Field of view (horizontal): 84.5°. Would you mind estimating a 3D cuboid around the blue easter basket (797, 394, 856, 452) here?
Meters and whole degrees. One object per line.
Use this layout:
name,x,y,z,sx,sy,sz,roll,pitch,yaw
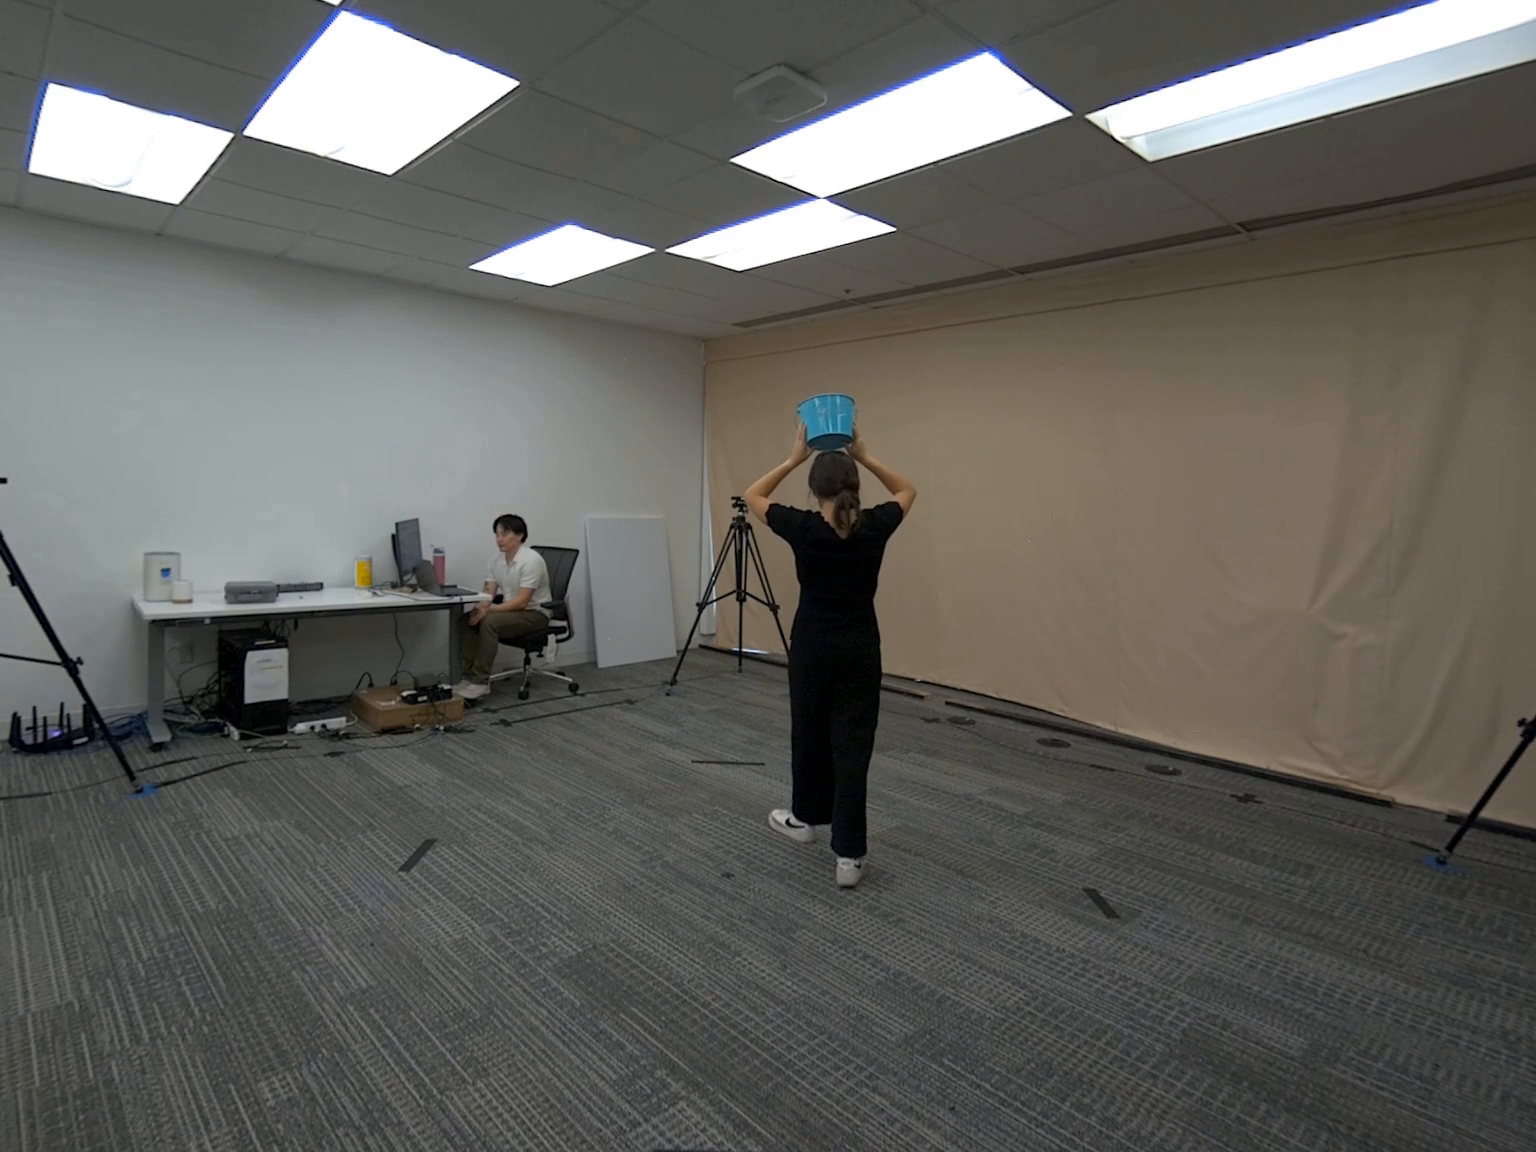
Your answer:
blue easter basket,0.233,-0.600,3.309,0.243,0.158,0.241,-3,-16,-2
